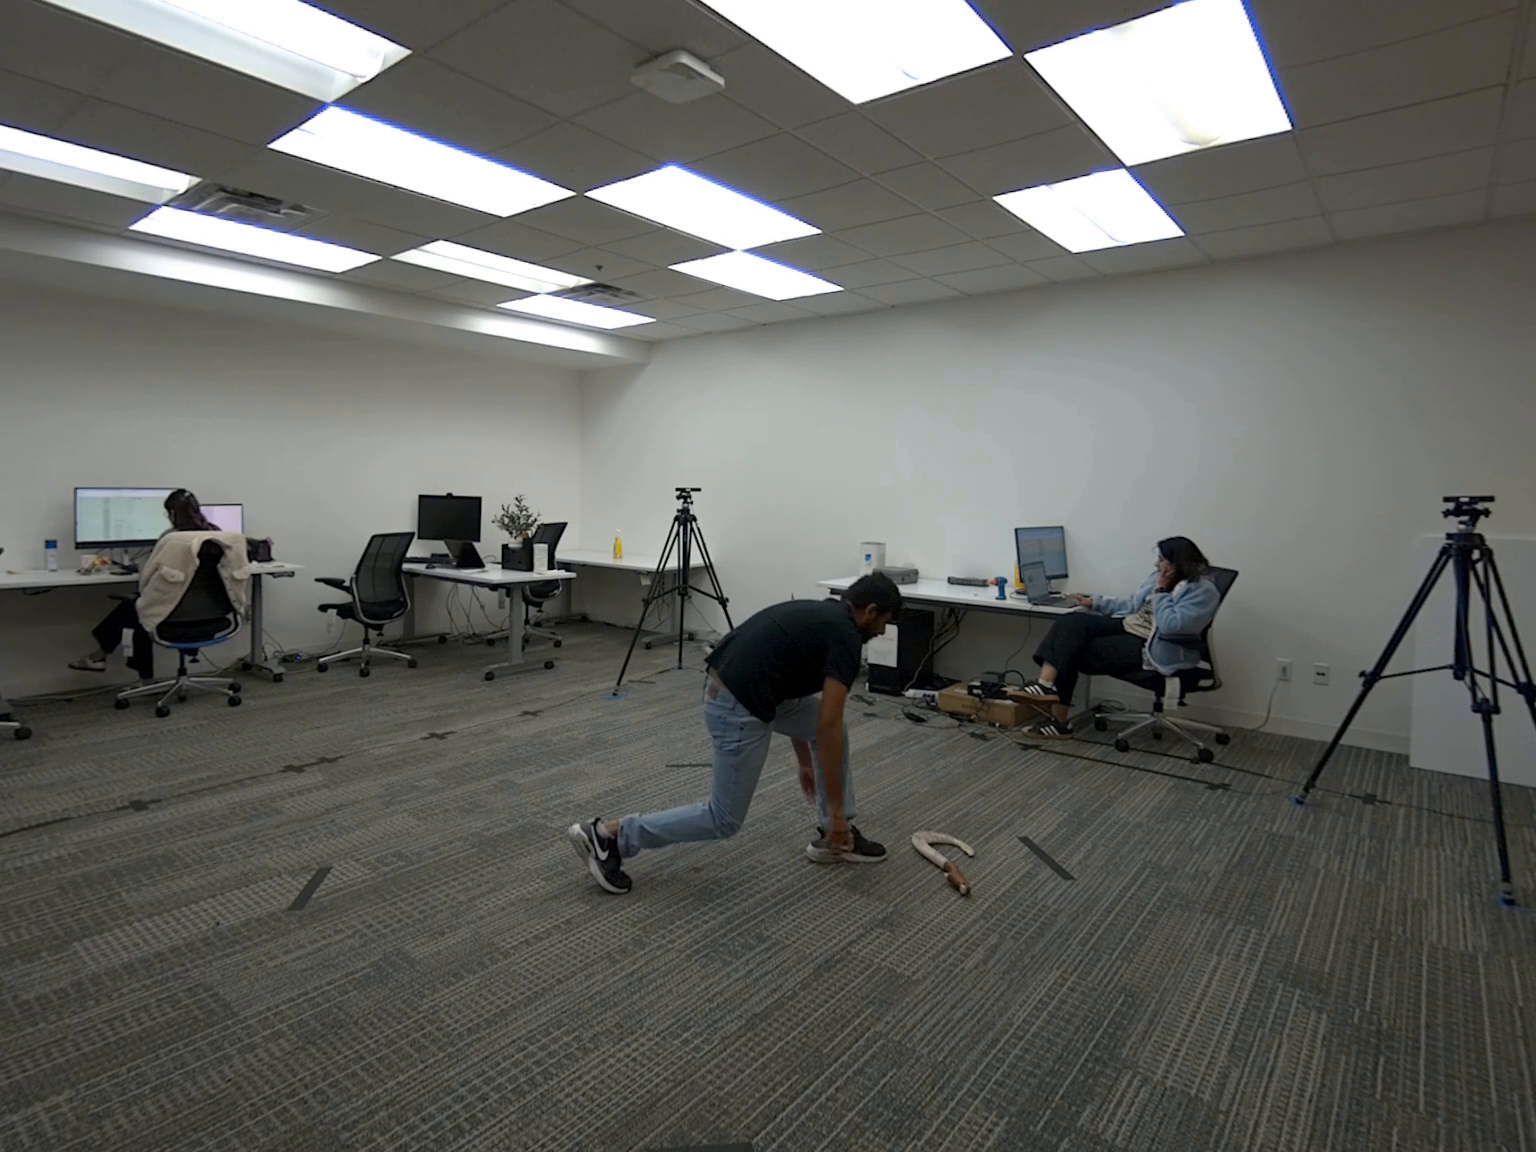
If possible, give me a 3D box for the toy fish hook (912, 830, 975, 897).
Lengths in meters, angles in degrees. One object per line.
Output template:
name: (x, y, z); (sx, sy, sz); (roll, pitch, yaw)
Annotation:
toy fish hook: (0.691, 1.056, 3.176); (0.223, 0.048, 0.512); (-1, 6, -8)
